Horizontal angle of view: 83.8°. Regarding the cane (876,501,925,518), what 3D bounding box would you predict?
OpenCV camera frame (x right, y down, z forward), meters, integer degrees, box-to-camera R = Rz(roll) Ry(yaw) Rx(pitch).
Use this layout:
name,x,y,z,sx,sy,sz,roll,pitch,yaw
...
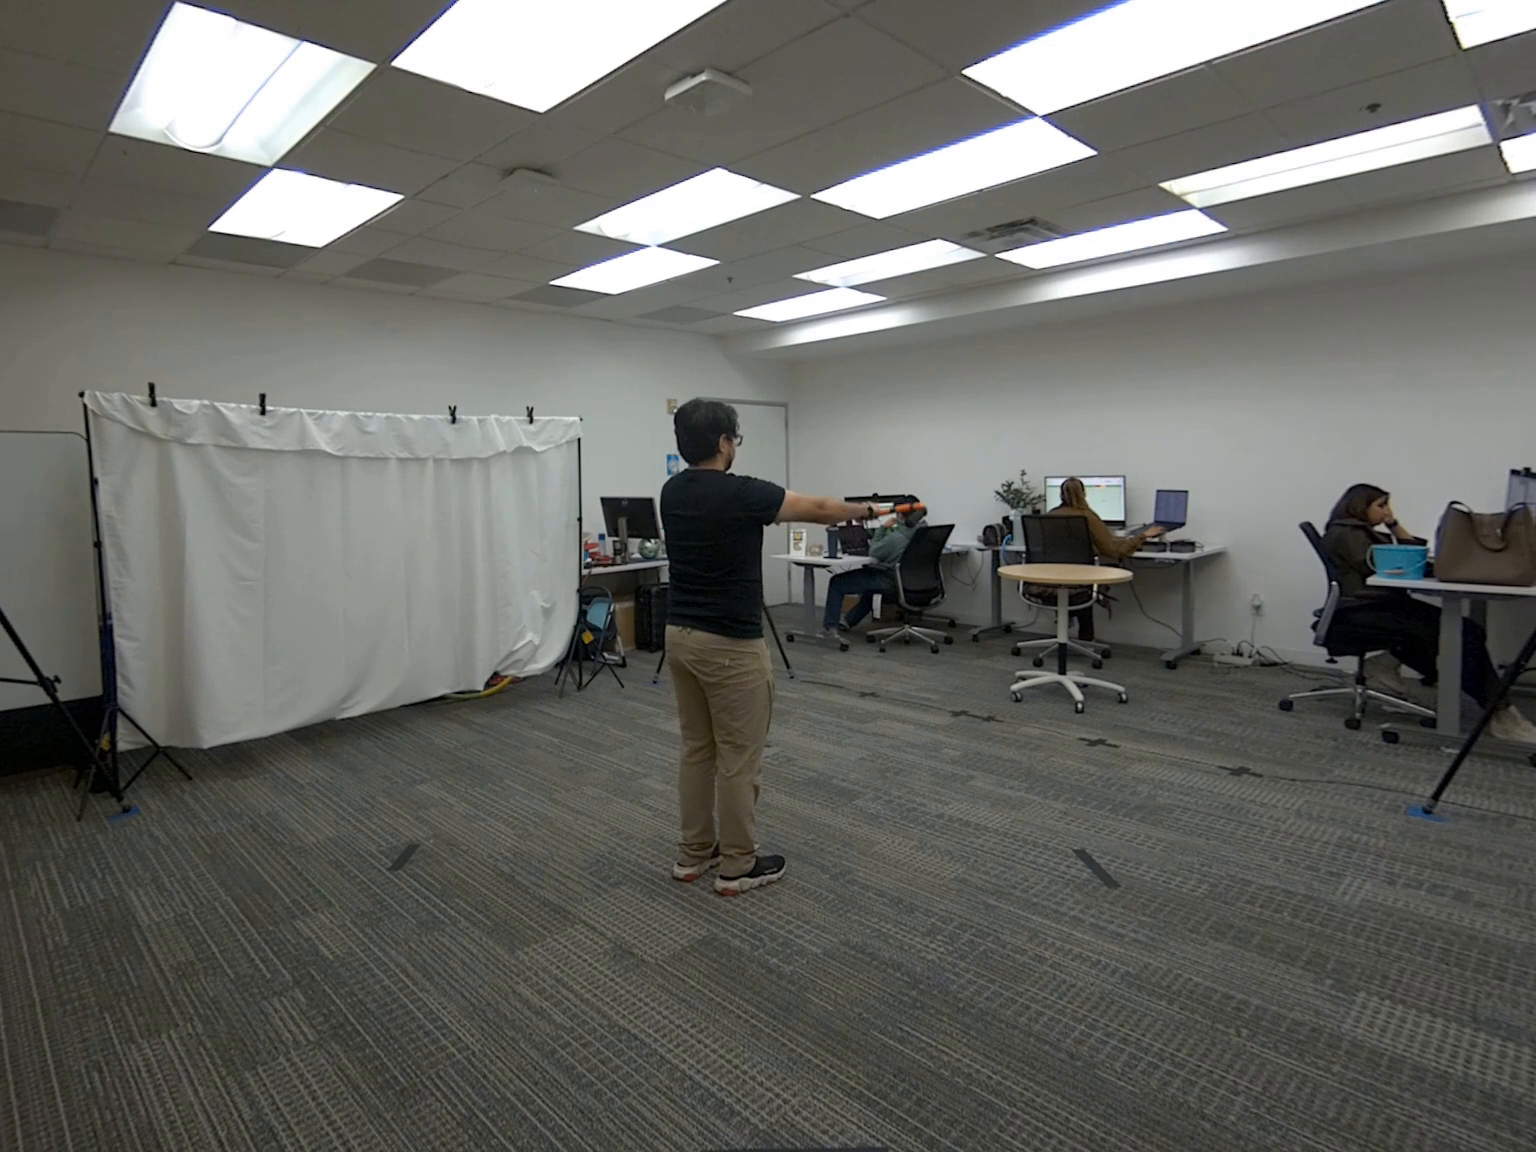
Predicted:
name,x,y,z,sx,sy,sz,roll,pitch,yaw
cane,0.211,-0.222,3.292,0.934,0.149,0.204,1,26,43
